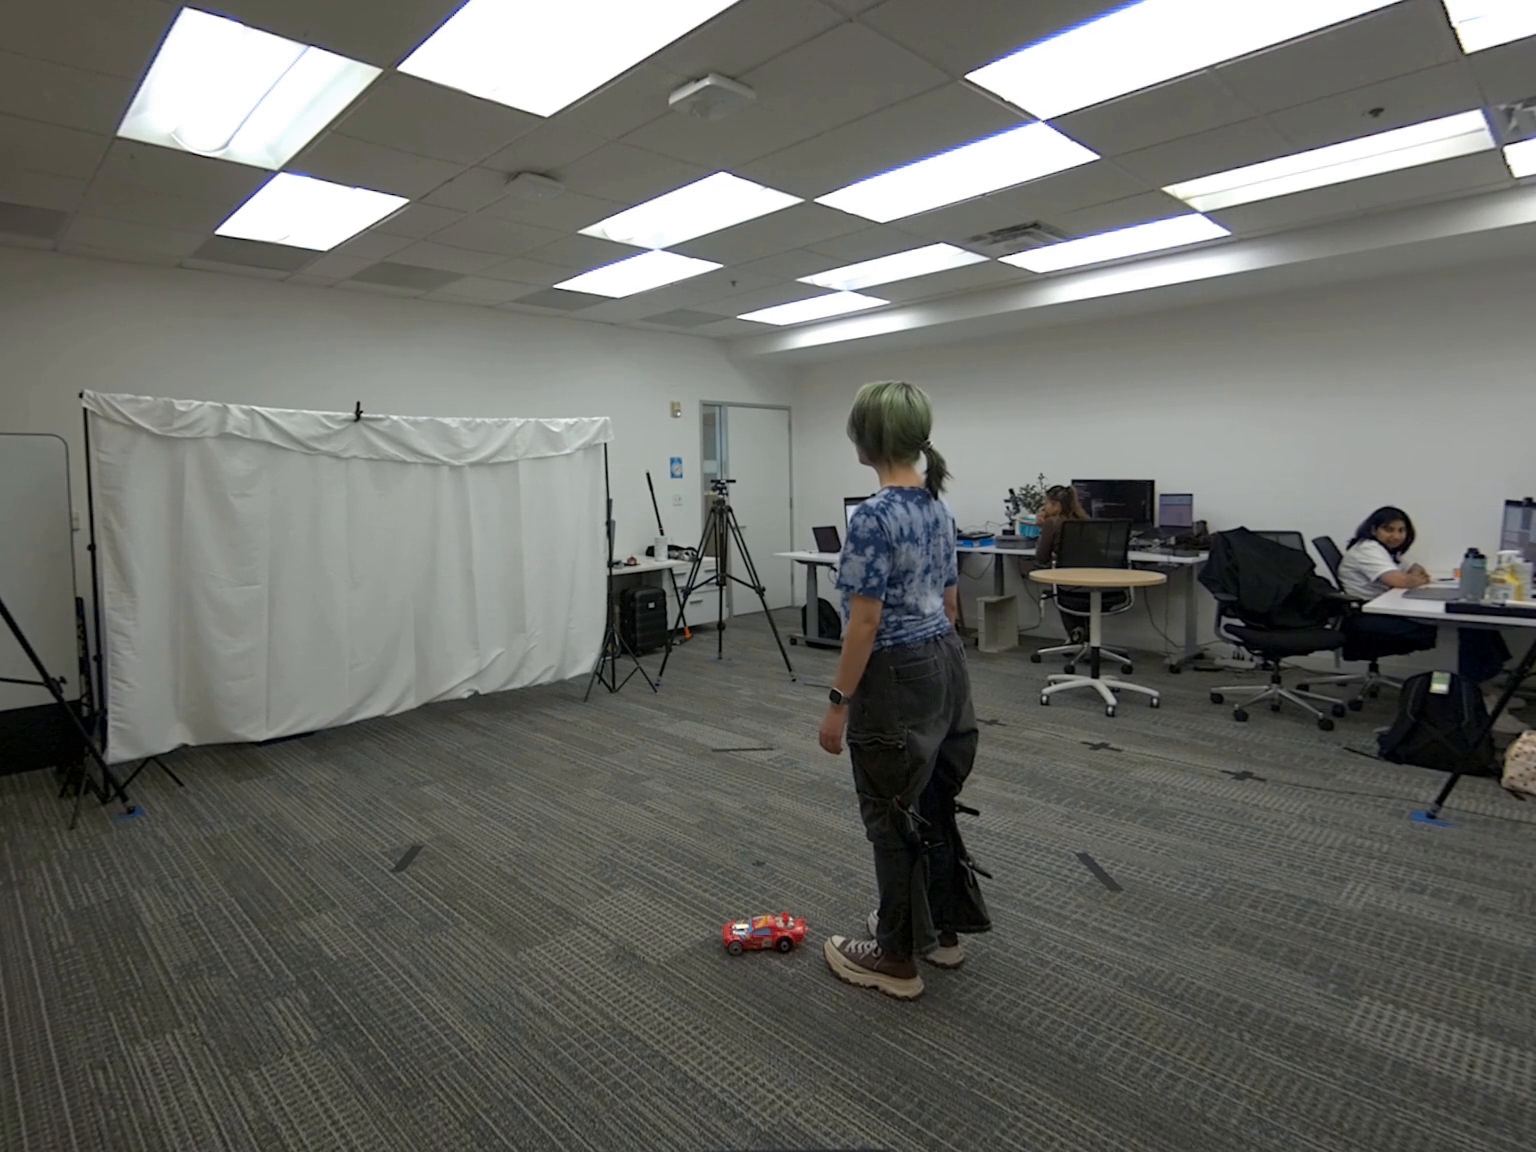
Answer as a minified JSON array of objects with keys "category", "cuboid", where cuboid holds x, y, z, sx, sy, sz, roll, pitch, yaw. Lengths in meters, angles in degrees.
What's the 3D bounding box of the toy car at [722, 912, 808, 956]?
[{"category":"toy car","cuboid":[-0.003,1.078,2.566,0.254,0.083,0.131,-13,5,-3]}]
